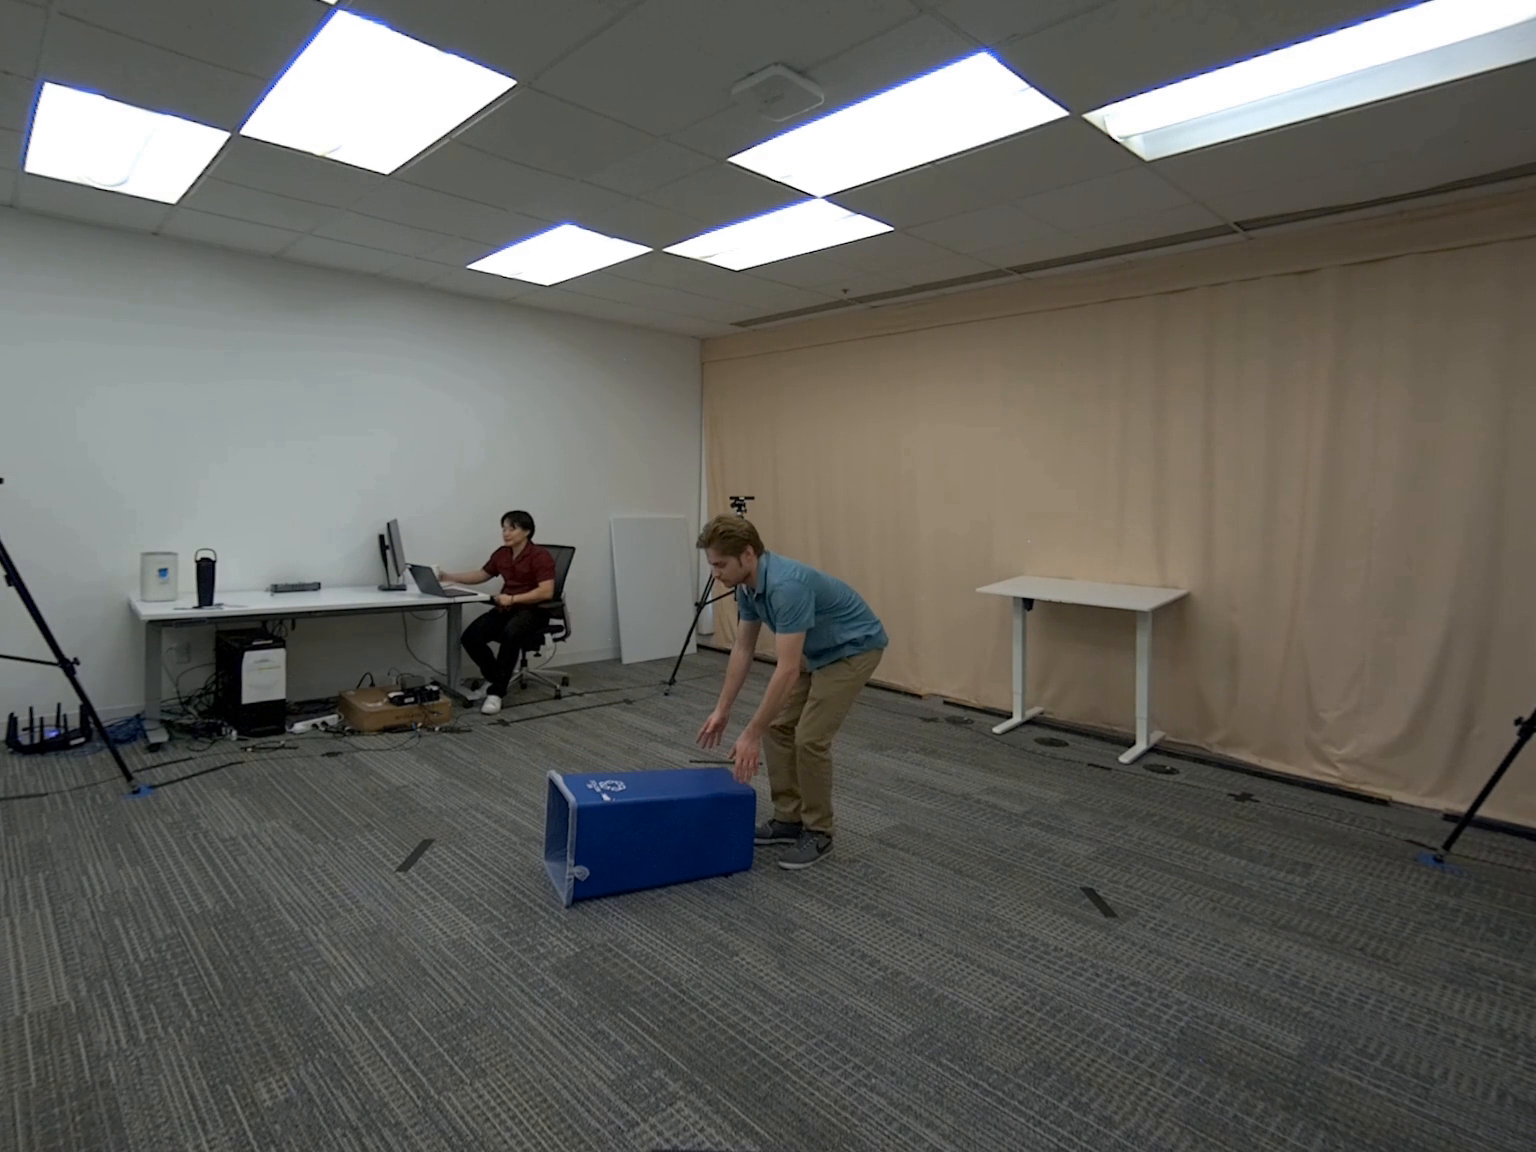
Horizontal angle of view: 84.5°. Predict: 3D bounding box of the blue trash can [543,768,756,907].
[{"bbox_3d":[-0.442,0.929,3.120,0.700,0.377,0.382,2,4,-26],"label":"blue trash can"}]
